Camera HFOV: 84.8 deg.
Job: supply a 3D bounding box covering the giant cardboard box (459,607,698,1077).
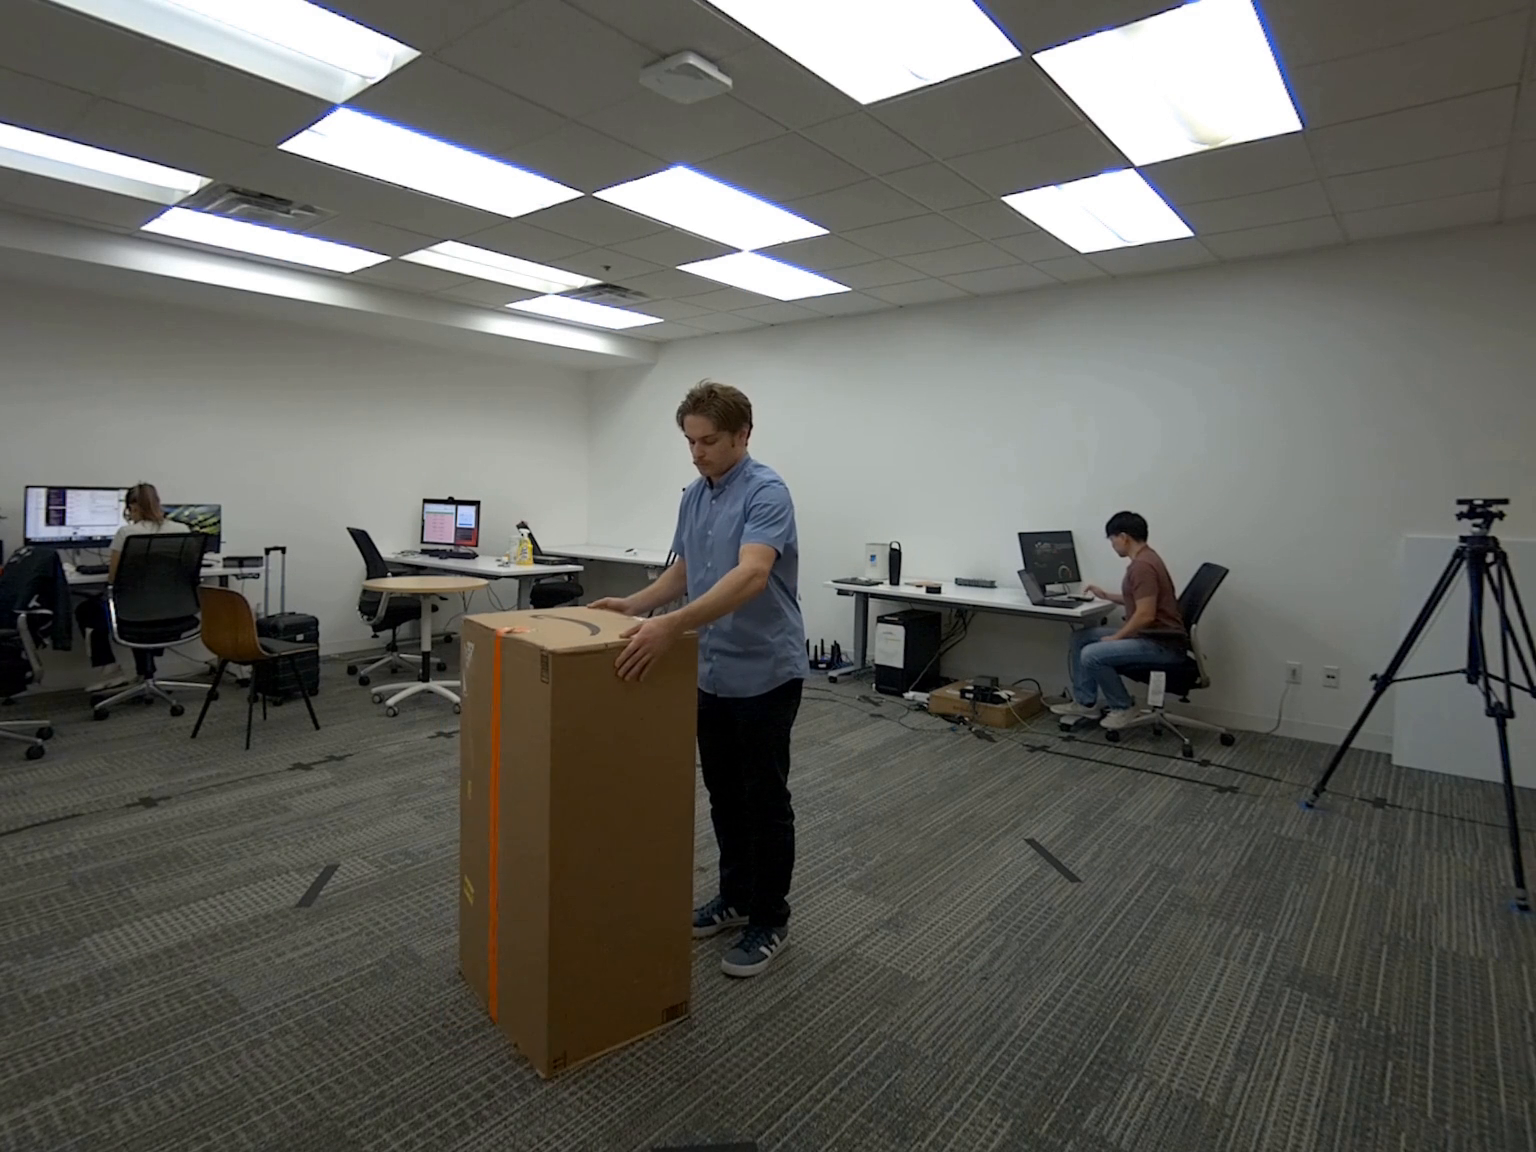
[{"bbox_3d":[-0.544,0.637,2.301,0.413,1.022,0.597,-1,5,-38],"label":"giant cardboard box"}]
